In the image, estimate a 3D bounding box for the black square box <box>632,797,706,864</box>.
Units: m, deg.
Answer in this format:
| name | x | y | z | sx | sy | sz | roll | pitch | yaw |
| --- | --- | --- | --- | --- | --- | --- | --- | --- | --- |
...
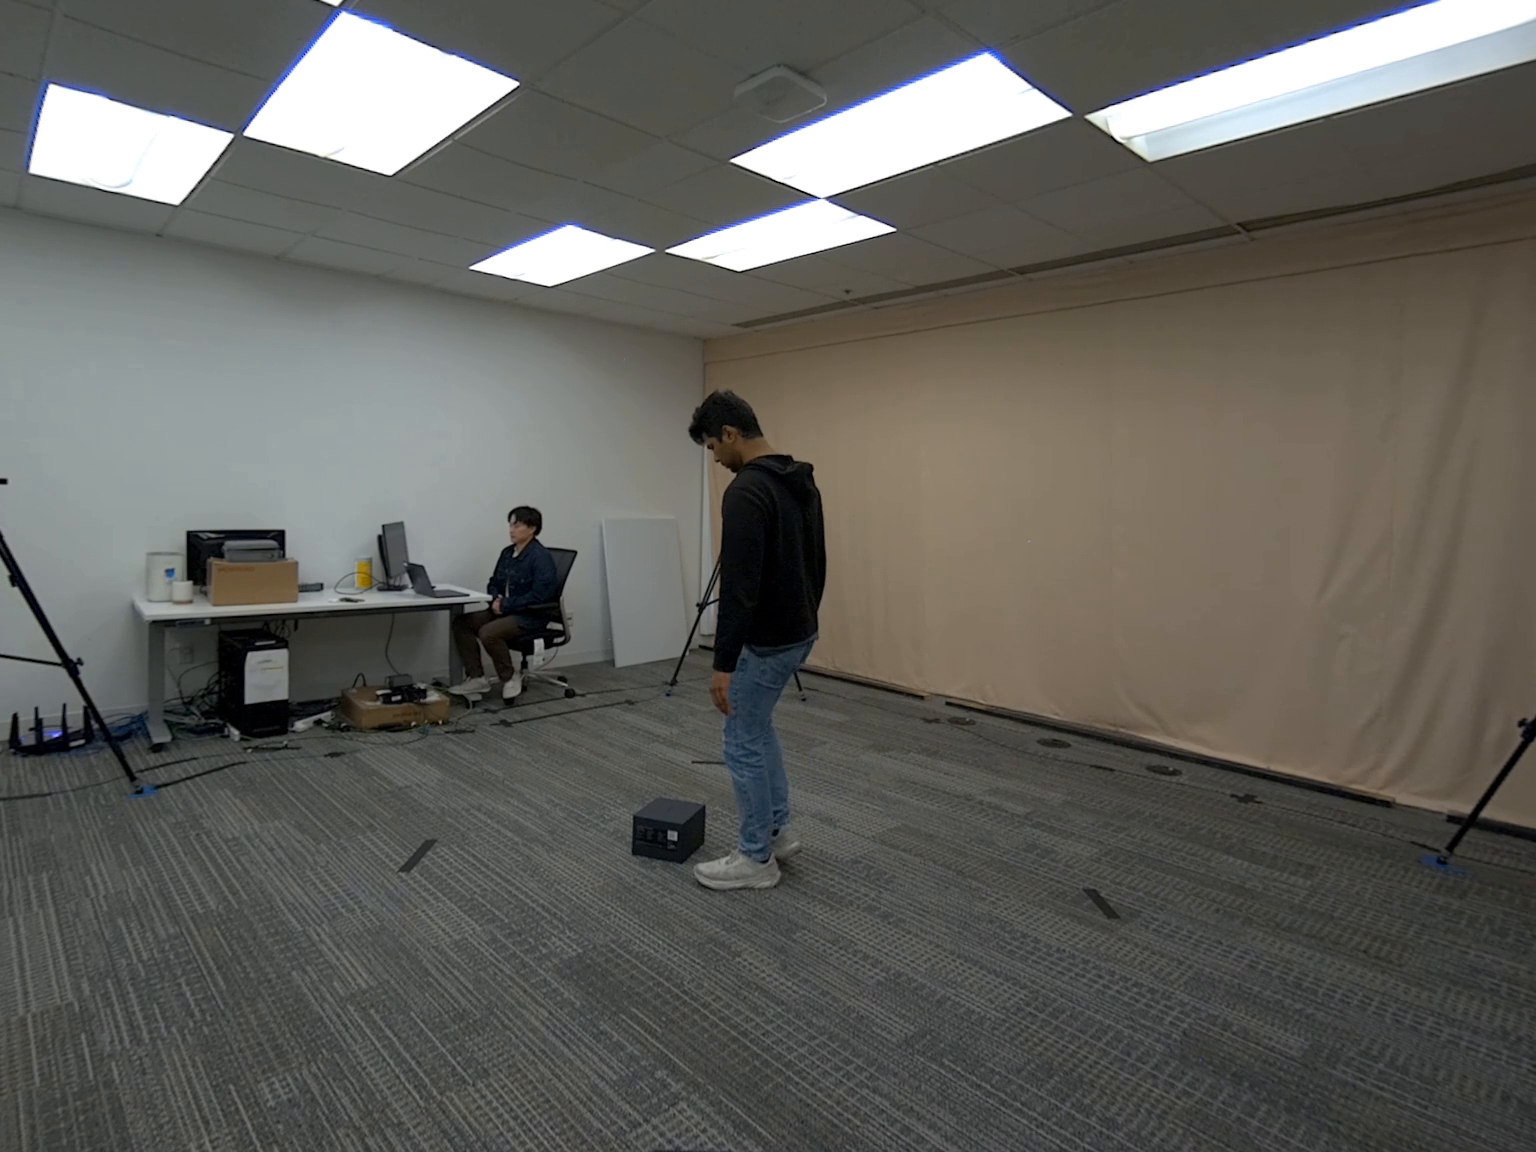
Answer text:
| name | x | y | z | sx | sy | sz | roll | pitch | yaw |
| --- | --- | --- | --- | --- | --- | --- | --- | --- | --- |
| black square box | -0.399 | 0.996 | 3.329 | 0.220 | 0.155 | 0.225 | 3 | 4 | 20 |
